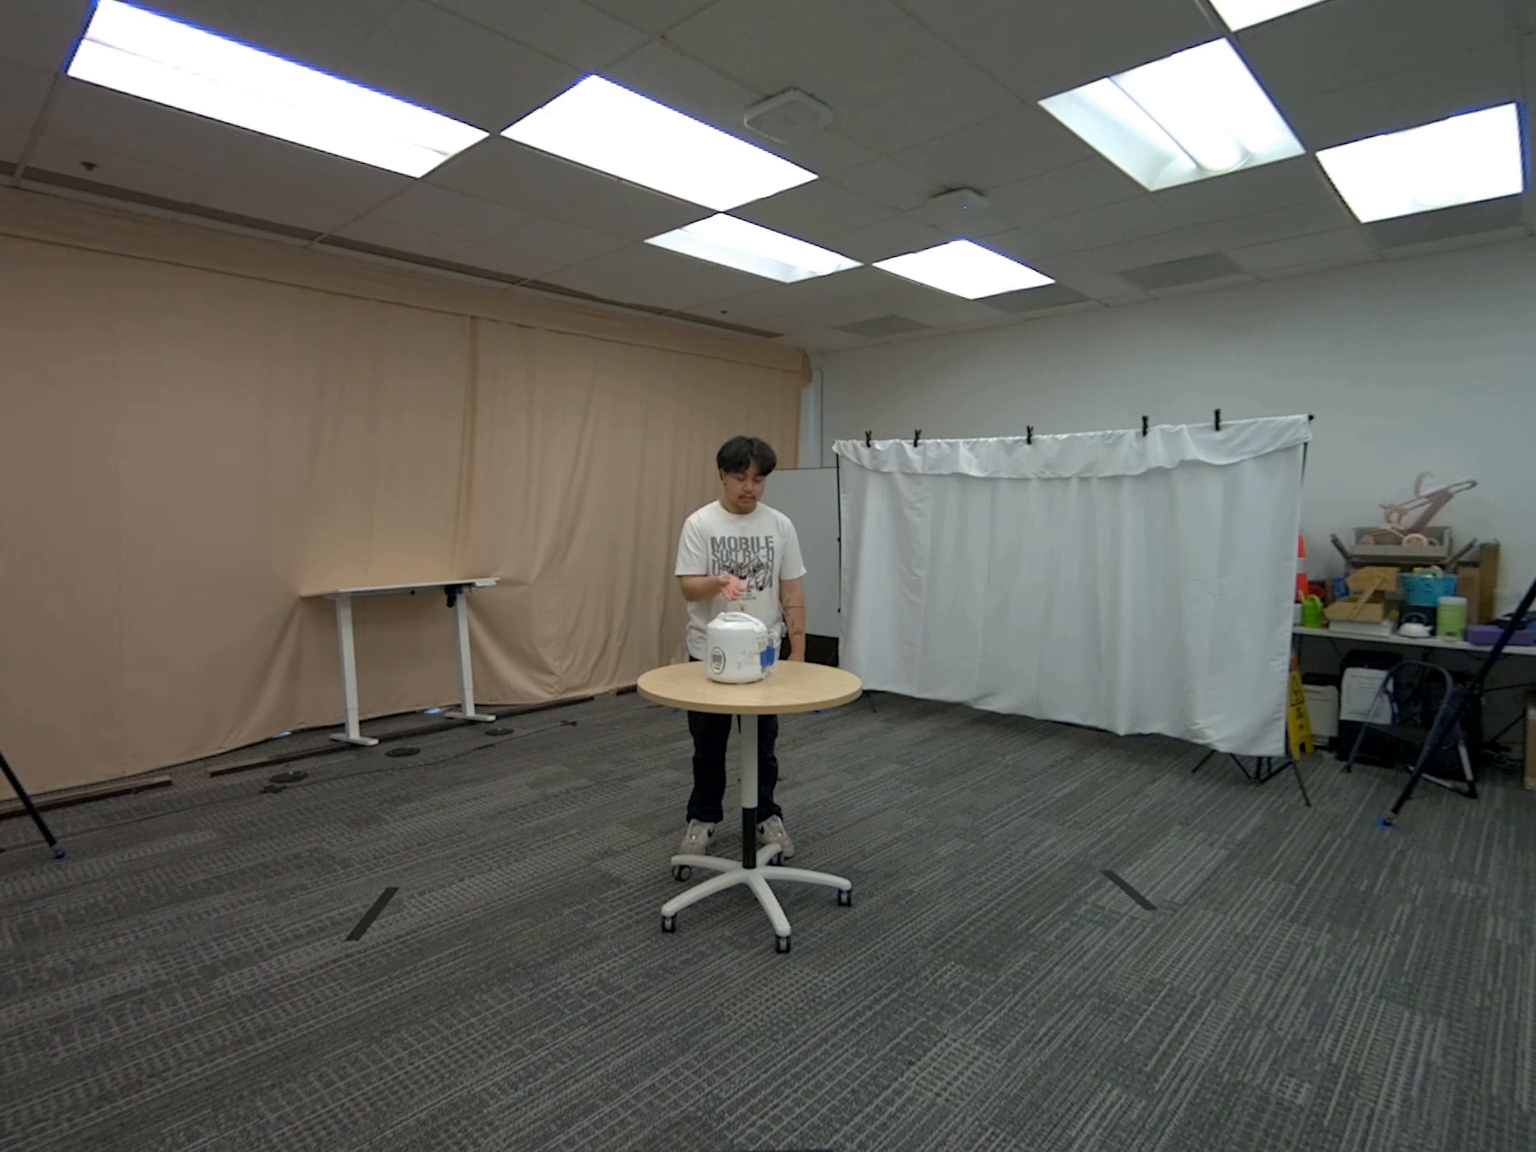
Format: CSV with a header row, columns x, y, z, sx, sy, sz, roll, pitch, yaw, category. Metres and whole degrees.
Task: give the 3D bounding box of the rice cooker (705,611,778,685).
x,y,z,sx,sy,sz,roll,pitch,yaw,category
-0.110,0.233,2.884,0.227,0.232,0.211,3,4,35,rice cooker
